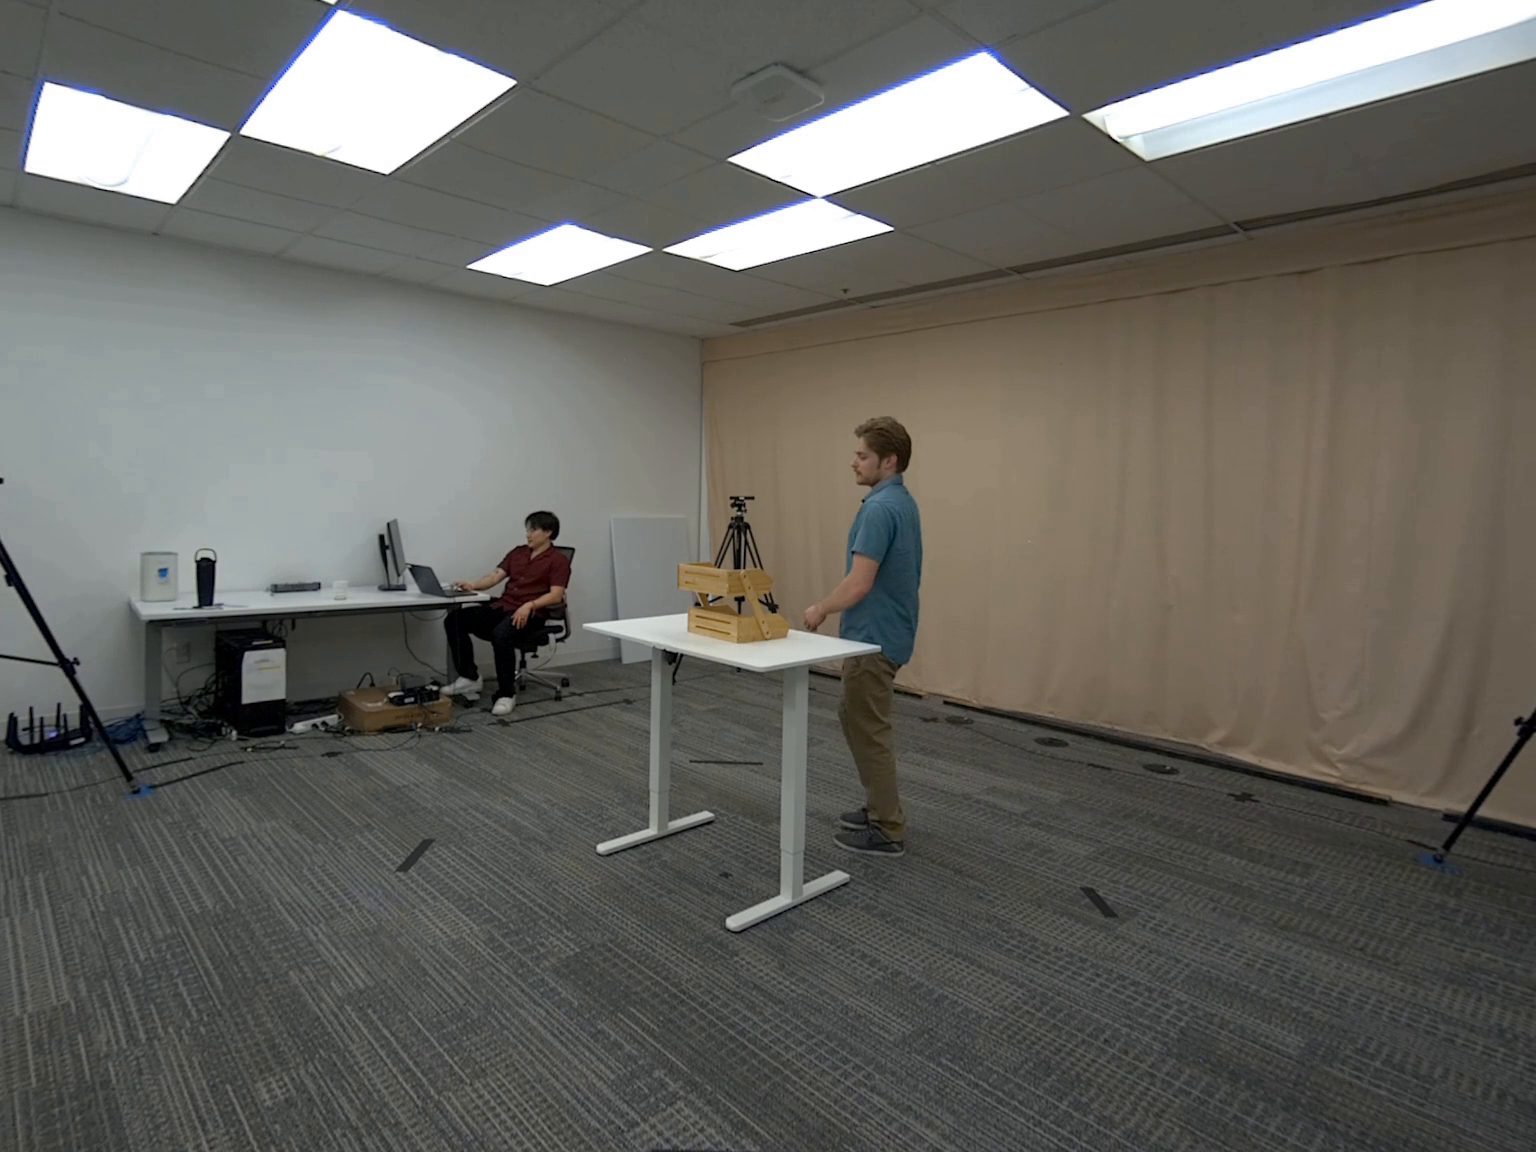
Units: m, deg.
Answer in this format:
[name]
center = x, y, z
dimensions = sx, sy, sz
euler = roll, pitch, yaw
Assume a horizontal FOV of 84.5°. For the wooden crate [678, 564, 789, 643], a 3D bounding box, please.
[wooden crate]
center = -0.134, 0.088, 3.114
dimensions = 0.295, 0.272, 0.333
euler = -4, 7, -41
